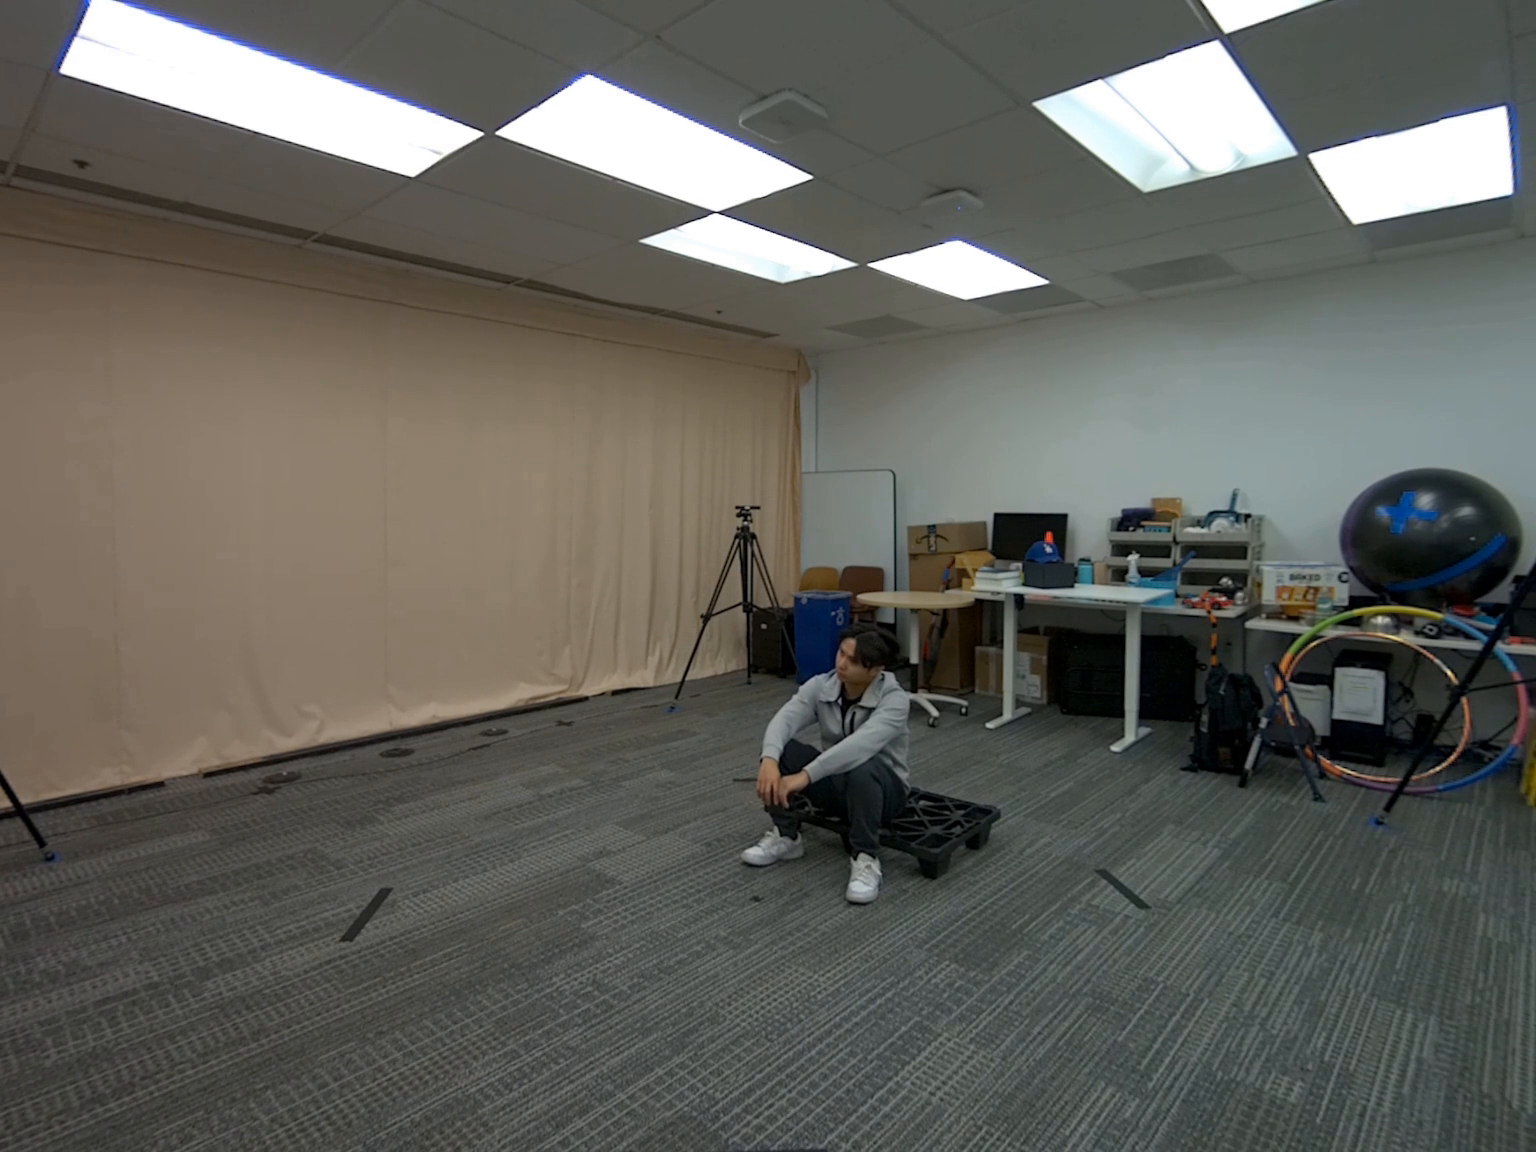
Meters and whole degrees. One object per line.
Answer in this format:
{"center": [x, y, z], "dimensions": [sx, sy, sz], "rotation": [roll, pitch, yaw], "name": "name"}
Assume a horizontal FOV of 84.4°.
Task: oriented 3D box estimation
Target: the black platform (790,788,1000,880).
{"center": [0.472, 1.029, 3.527], "dimensions": [0.832, 0.143, 0.587], "rotation": [4, 6, 40], "name": "black platform"}
